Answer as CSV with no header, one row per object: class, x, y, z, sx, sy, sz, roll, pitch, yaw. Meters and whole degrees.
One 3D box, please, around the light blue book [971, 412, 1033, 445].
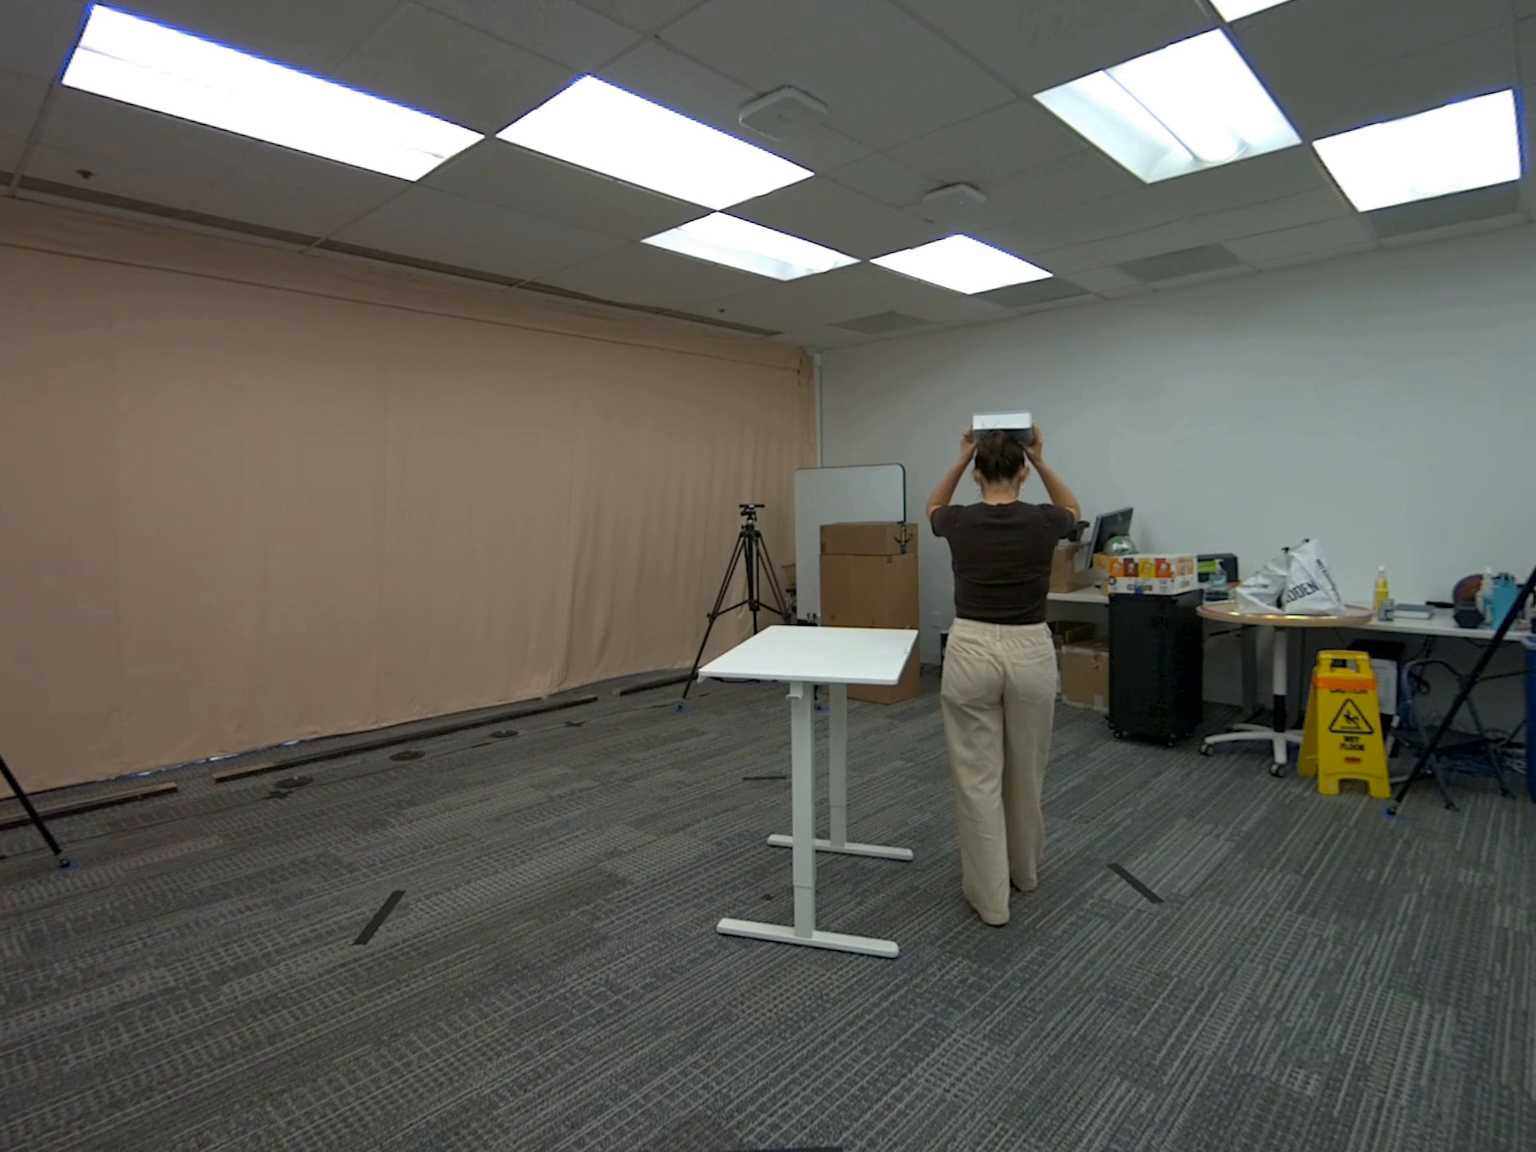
light blue book,0.815,-0.496,2.890,0.195,0.059,0.255,1,-8,18
